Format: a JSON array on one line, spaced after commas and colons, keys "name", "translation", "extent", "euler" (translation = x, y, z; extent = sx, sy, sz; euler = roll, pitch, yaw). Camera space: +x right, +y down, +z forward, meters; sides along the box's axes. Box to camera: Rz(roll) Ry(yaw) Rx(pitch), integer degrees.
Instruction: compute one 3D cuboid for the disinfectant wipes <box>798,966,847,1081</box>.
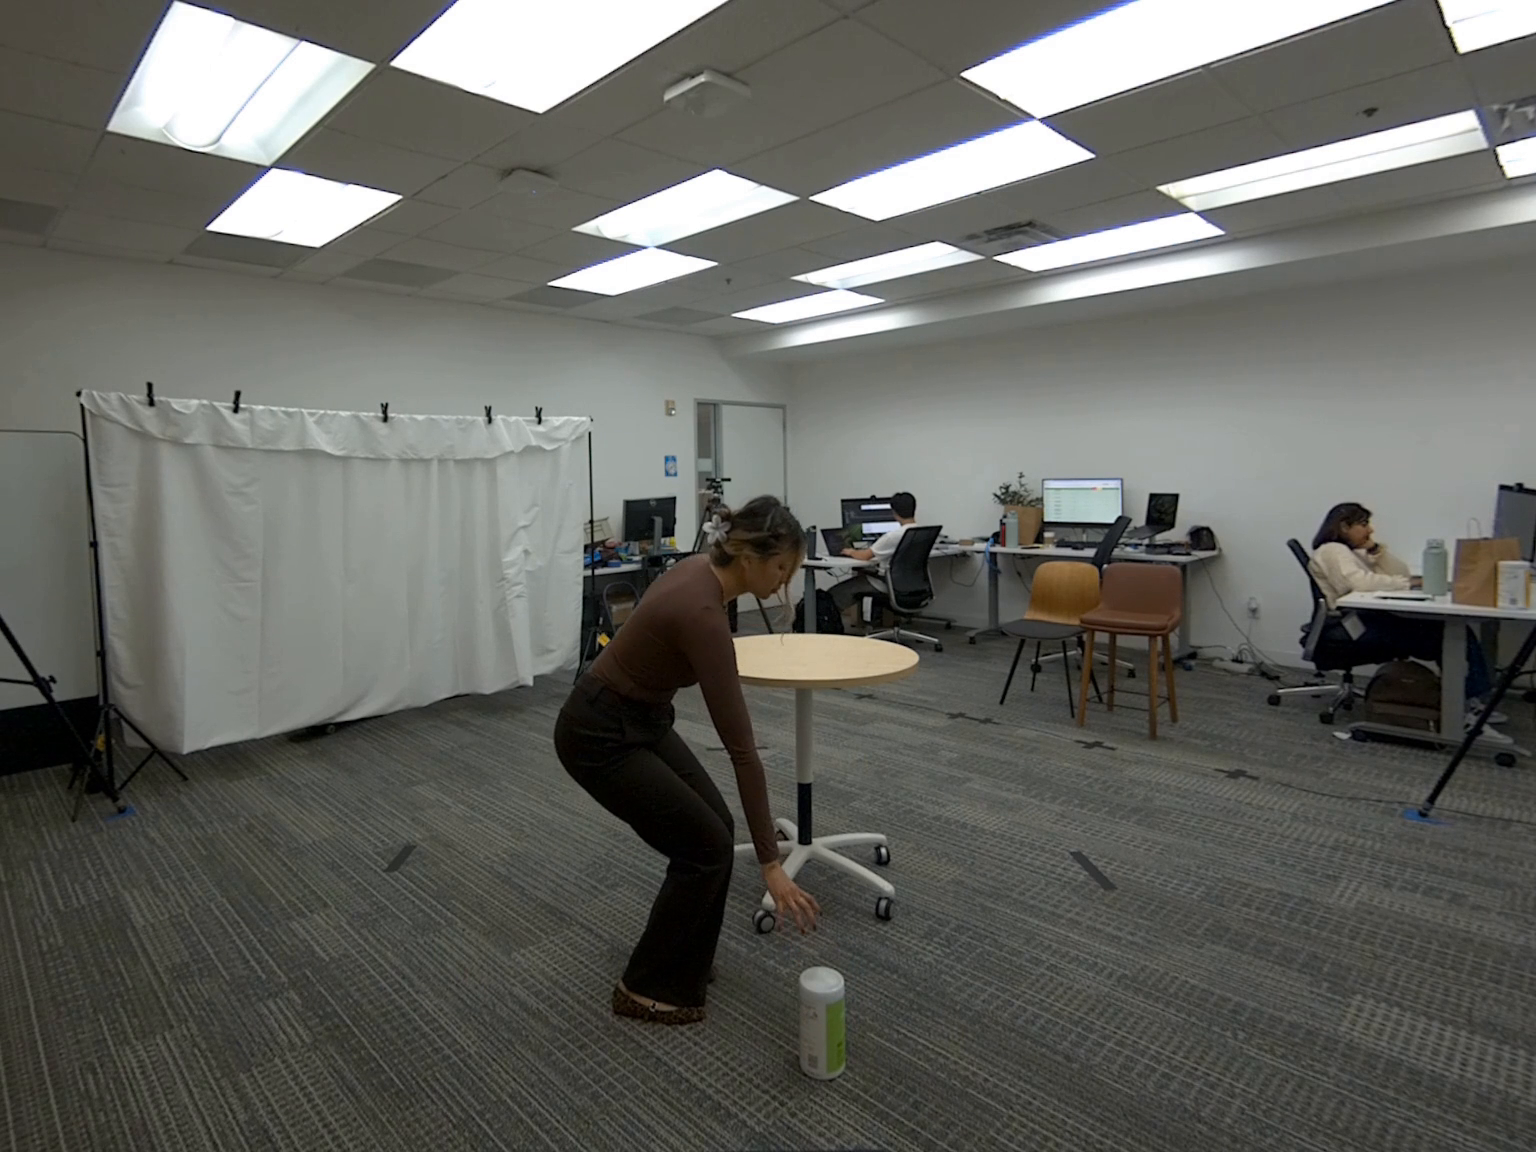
[{"name": "disinfectant wipes", "translation": [0.139, 1.063, 2.019], "extent": [0.118, 0.216, 0.118], "euler": [0, 5, -2]}]
